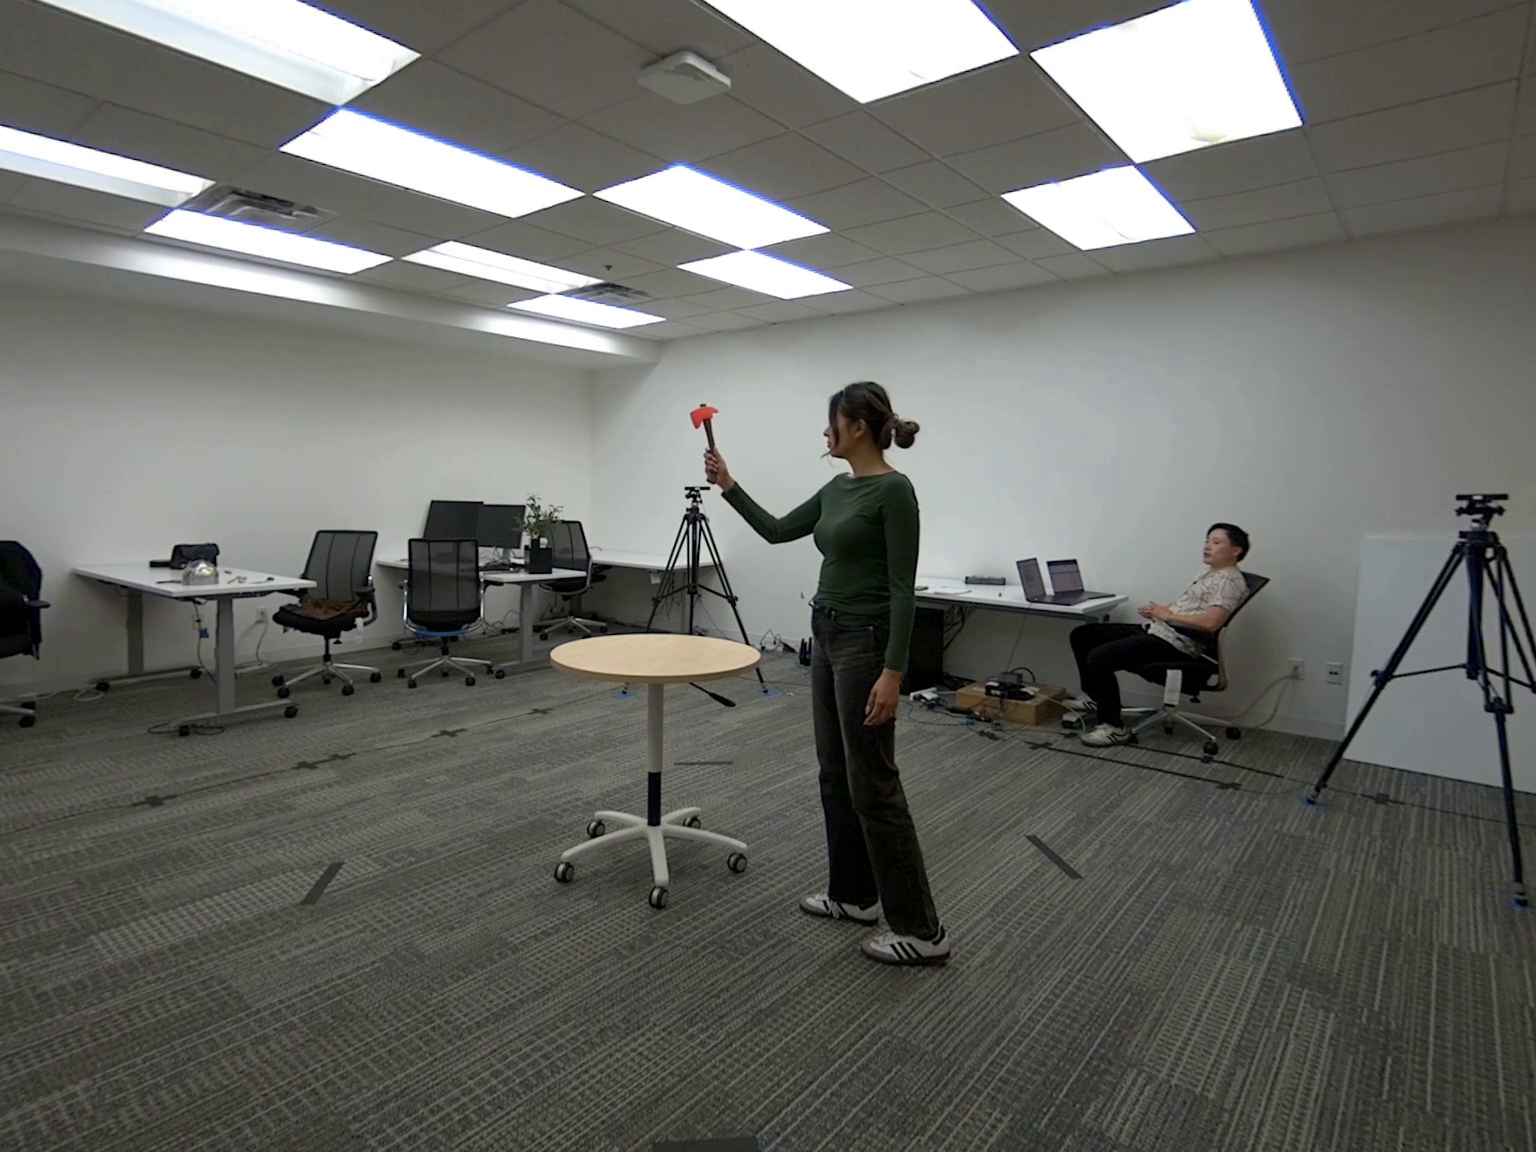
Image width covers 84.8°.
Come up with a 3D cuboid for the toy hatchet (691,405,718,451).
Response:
[{"bbox_3d":[-0.222,-0.455,2.873,0.030,0.273,0.126,-11,-14,40],"label":"toy hatchet"}]
